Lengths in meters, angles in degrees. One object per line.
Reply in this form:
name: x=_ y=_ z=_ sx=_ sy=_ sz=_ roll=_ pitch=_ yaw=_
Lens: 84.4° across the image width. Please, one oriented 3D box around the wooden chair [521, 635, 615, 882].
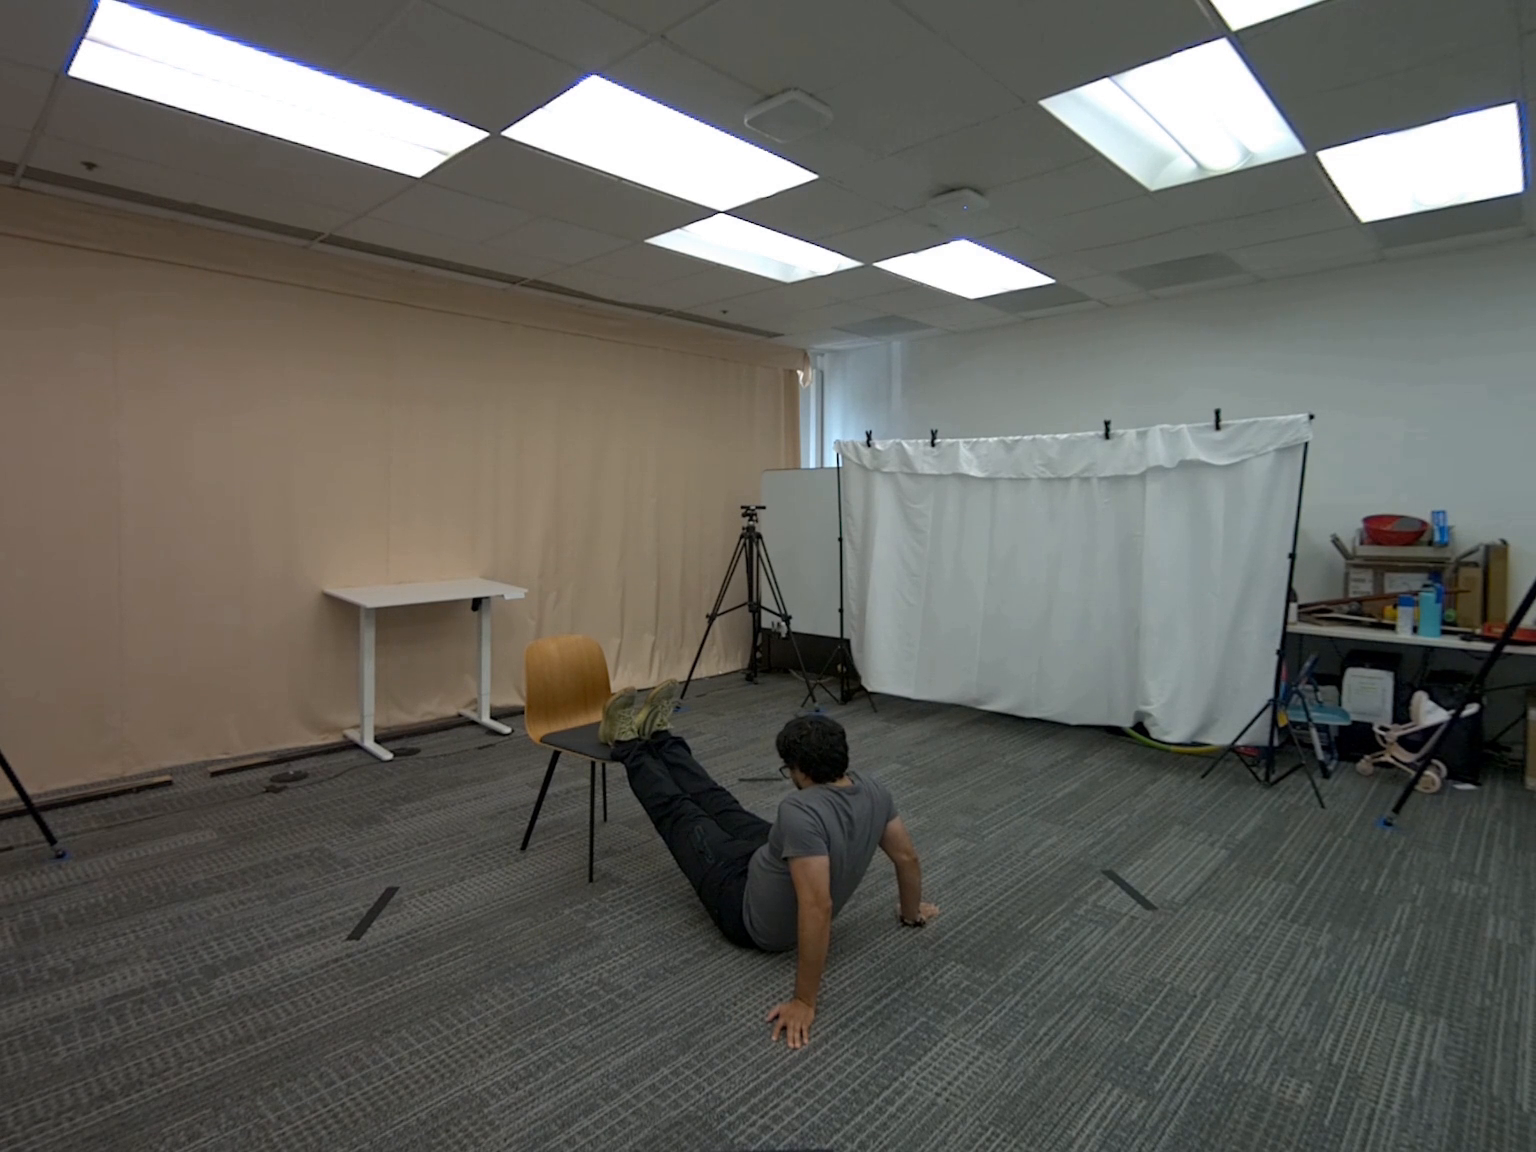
wooden chair: x=-0.688 y=0.690 z=3.401 sx=0.539 sy=0.877 sz=0.463 roll=-3 pitch=1 yaw=42
